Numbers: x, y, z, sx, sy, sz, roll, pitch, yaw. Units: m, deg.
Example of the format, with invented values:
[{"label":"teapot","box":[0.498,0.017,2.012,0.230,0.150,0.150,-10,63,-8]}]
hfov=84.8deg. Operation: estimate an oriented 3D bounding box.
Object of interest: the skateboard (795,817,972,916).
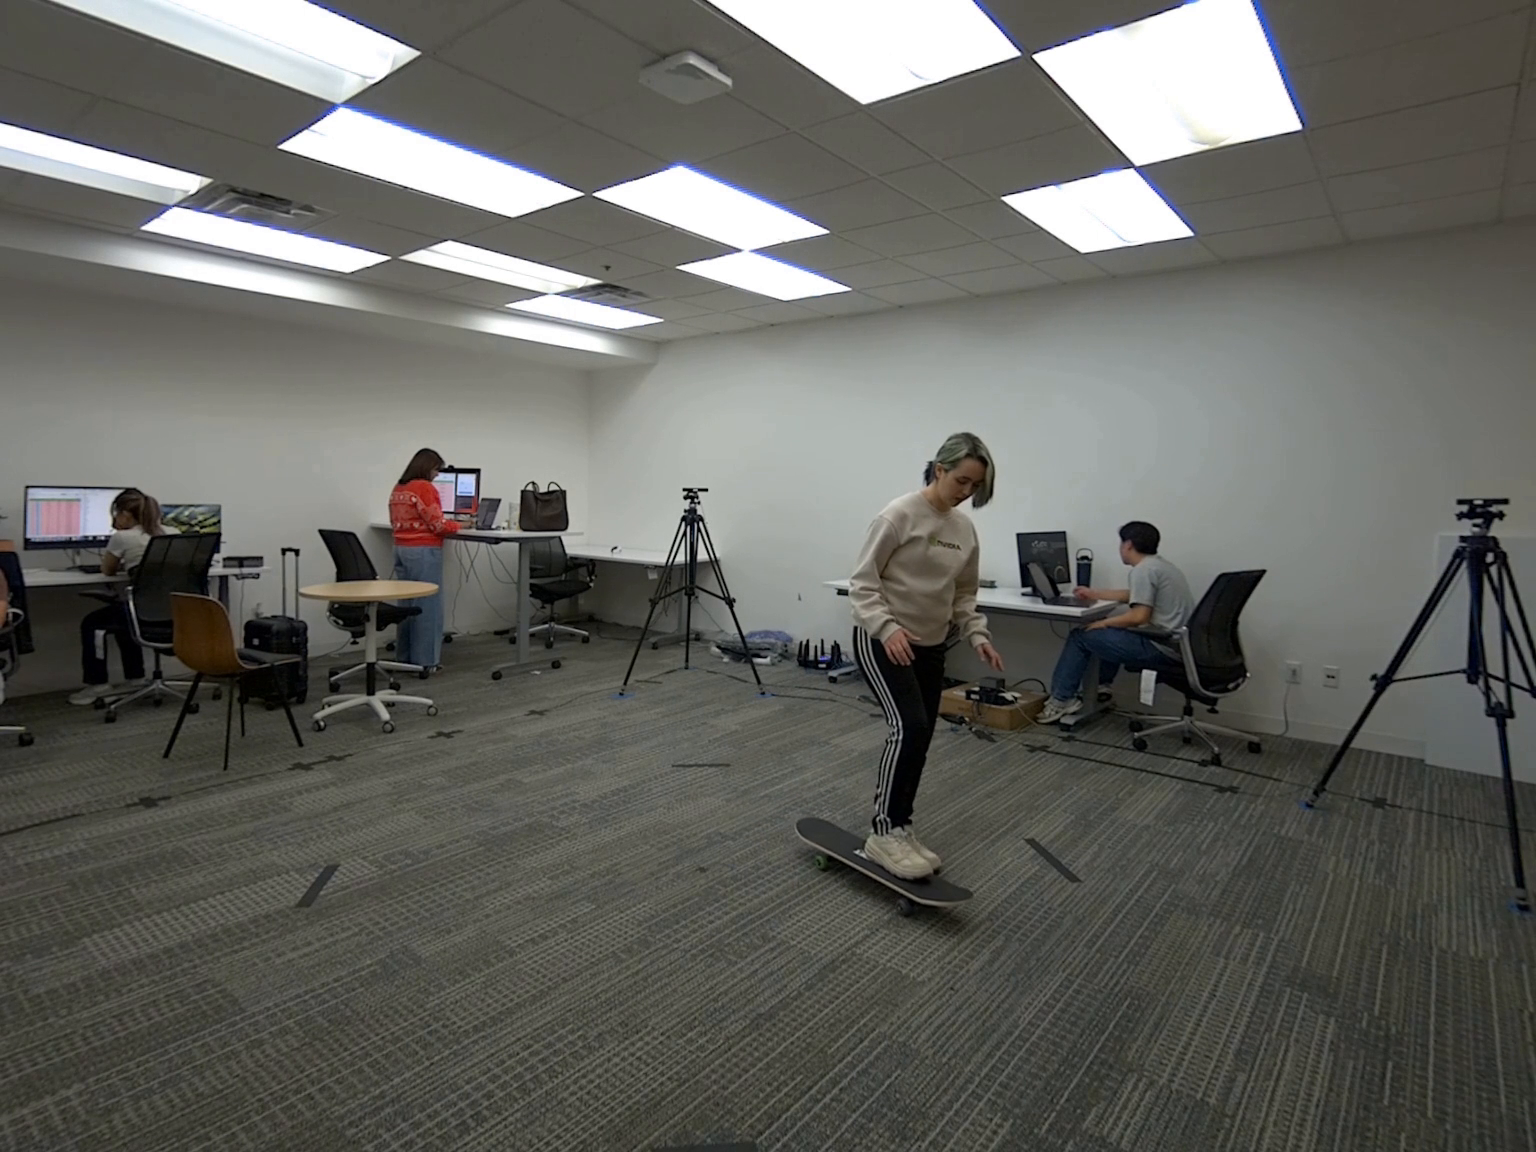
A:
[{"label":"skateboard","box":[0.374,1.044,3.015,0.187,0.110,0.812,-1,6,-38]}]
